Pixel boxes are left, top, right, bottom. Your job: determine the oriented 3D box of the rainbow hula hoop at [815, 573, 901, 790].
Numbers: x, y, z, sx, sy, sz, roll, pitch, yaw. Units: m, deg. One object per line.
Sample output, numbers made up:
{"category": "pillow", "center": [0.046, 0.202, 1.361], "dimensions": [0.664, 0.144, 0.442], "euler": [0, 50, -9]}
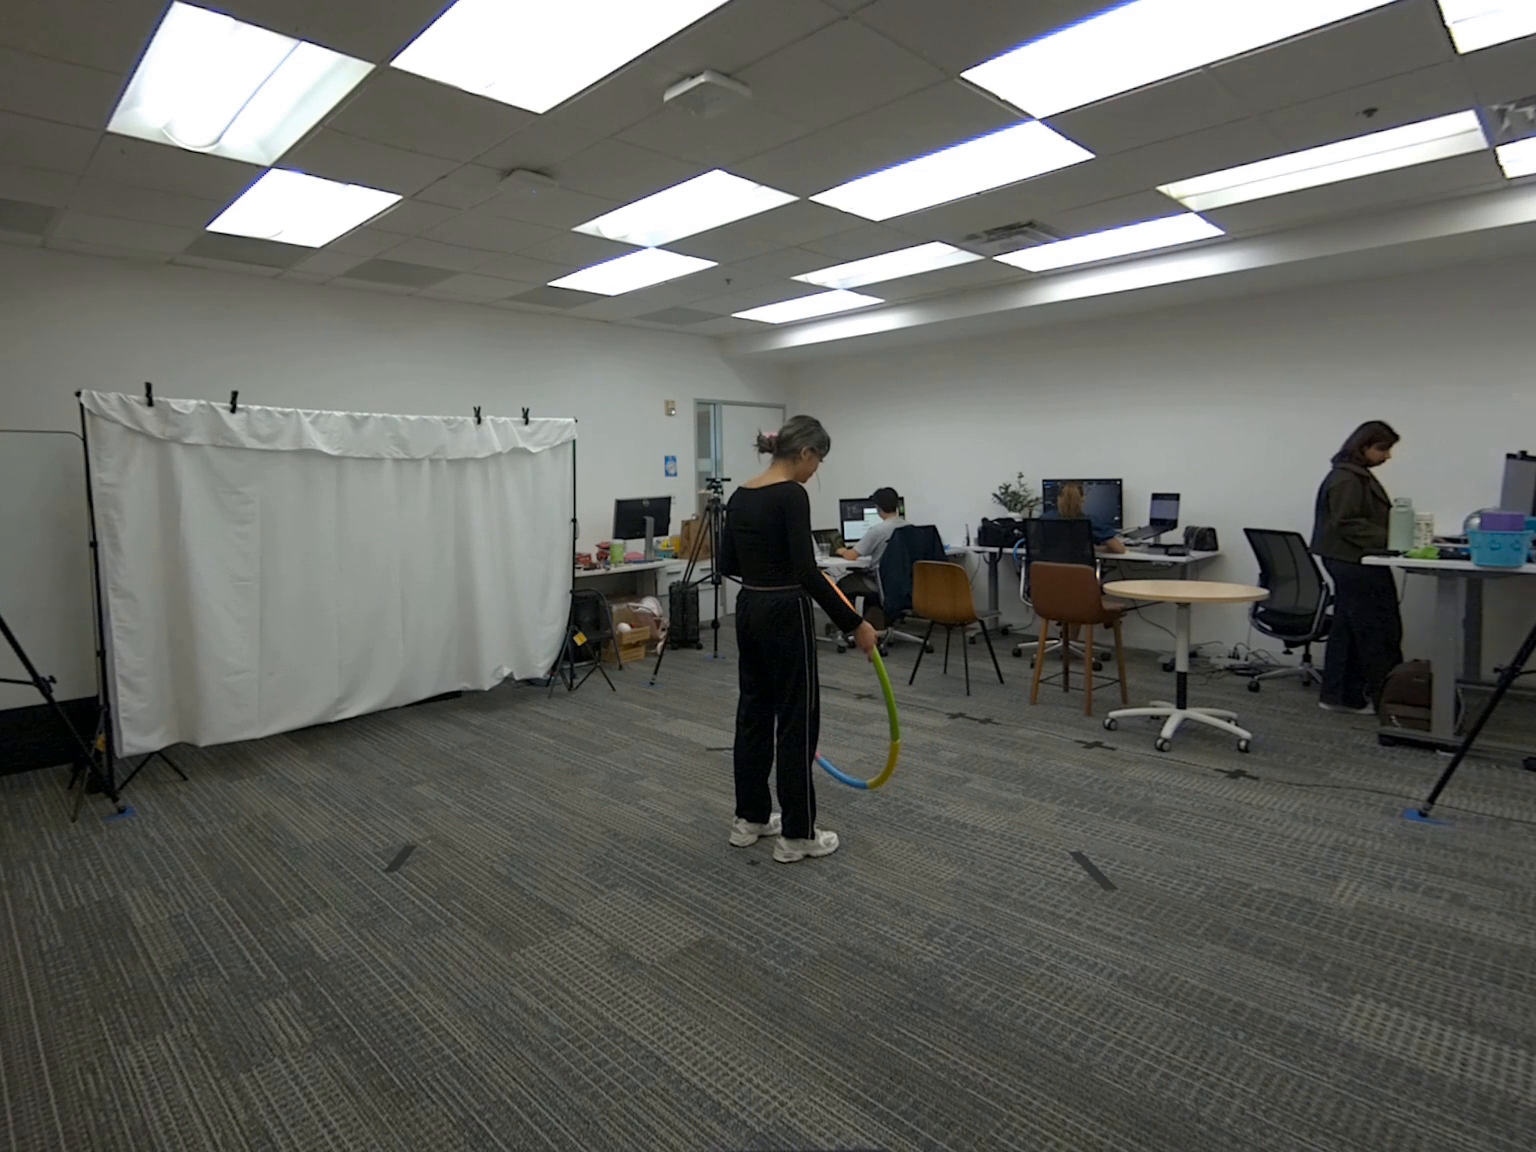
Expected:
{"category": "rainbow hula hoop", "center": [0.203, 0.381, 3.444], "dimensions": [0.035, 0.967, 1.005], "euler": [-20, 13, -26]}
